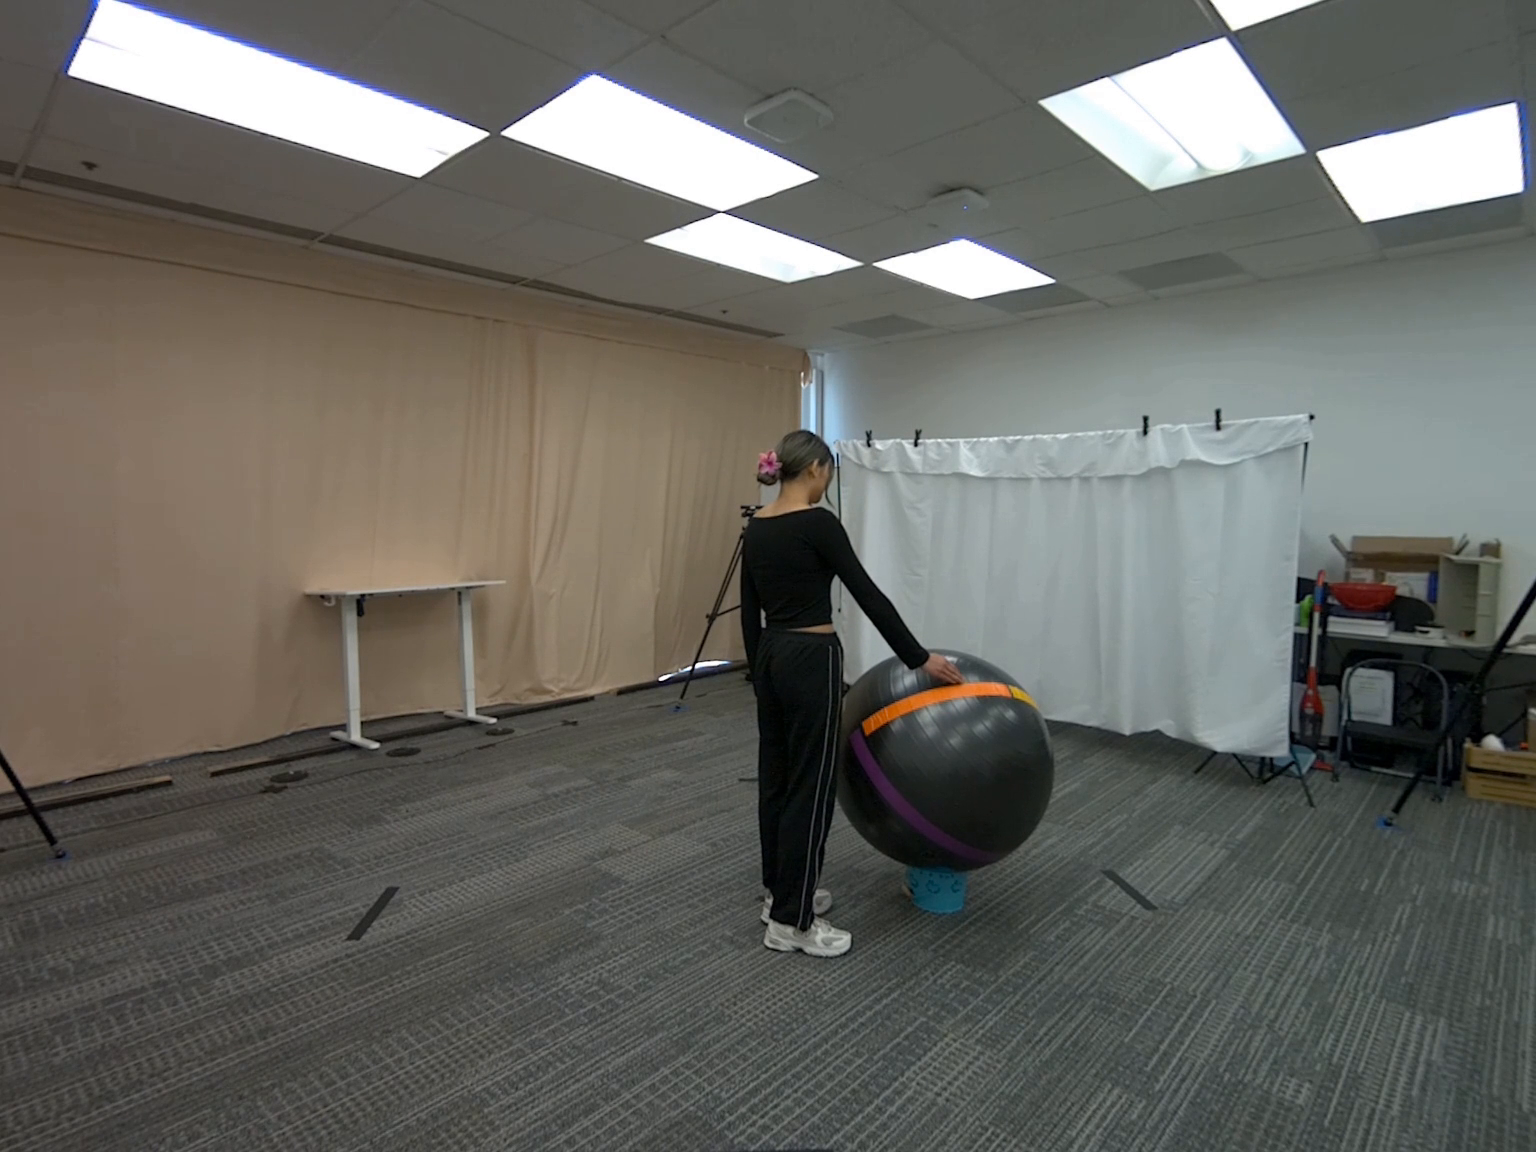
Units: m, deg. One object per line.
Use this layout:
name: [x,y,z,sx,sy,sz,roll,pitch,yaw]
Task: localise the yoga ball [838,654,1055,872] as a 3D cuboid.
yoga ball: [0.607,0.639,2.940,0.757,0.756,0.760,0,4,-2]
